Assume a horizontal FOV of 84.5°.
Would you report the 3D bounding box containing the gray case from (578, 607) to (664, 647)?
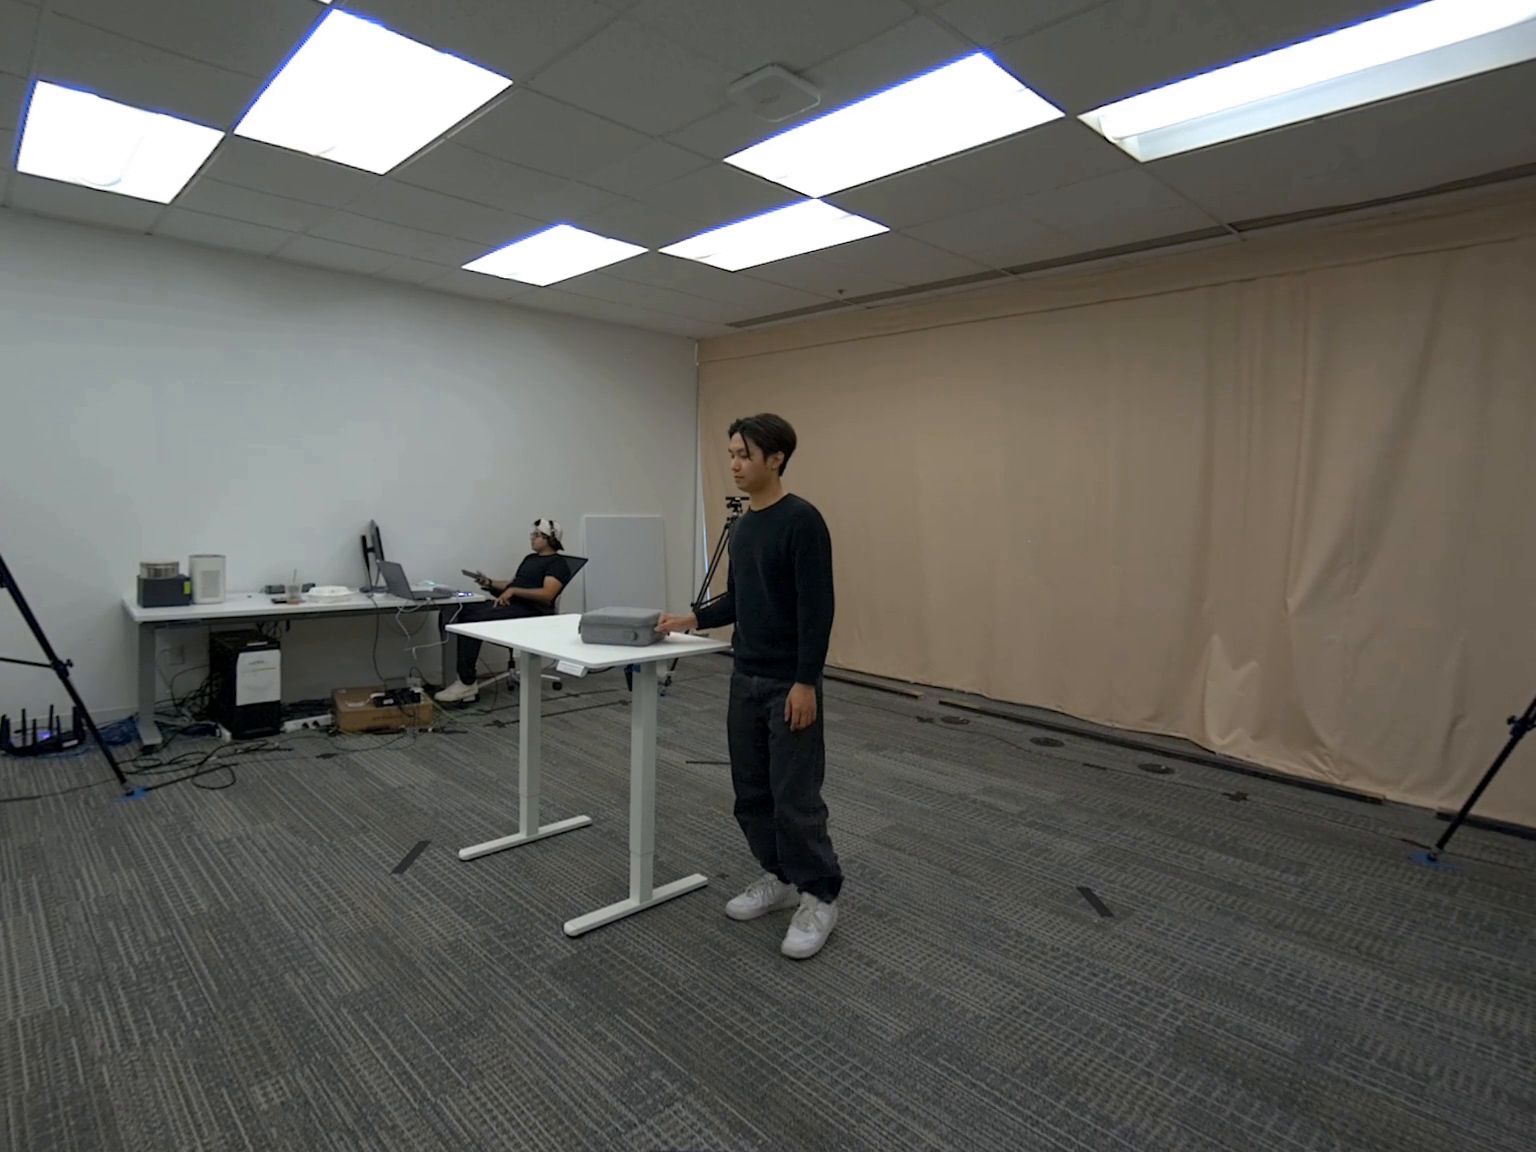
[{"bbox_3d":[-0.505,0.172,2.963,0.264,0.104,0.254,2,3,15],"label":"gray case"}]
